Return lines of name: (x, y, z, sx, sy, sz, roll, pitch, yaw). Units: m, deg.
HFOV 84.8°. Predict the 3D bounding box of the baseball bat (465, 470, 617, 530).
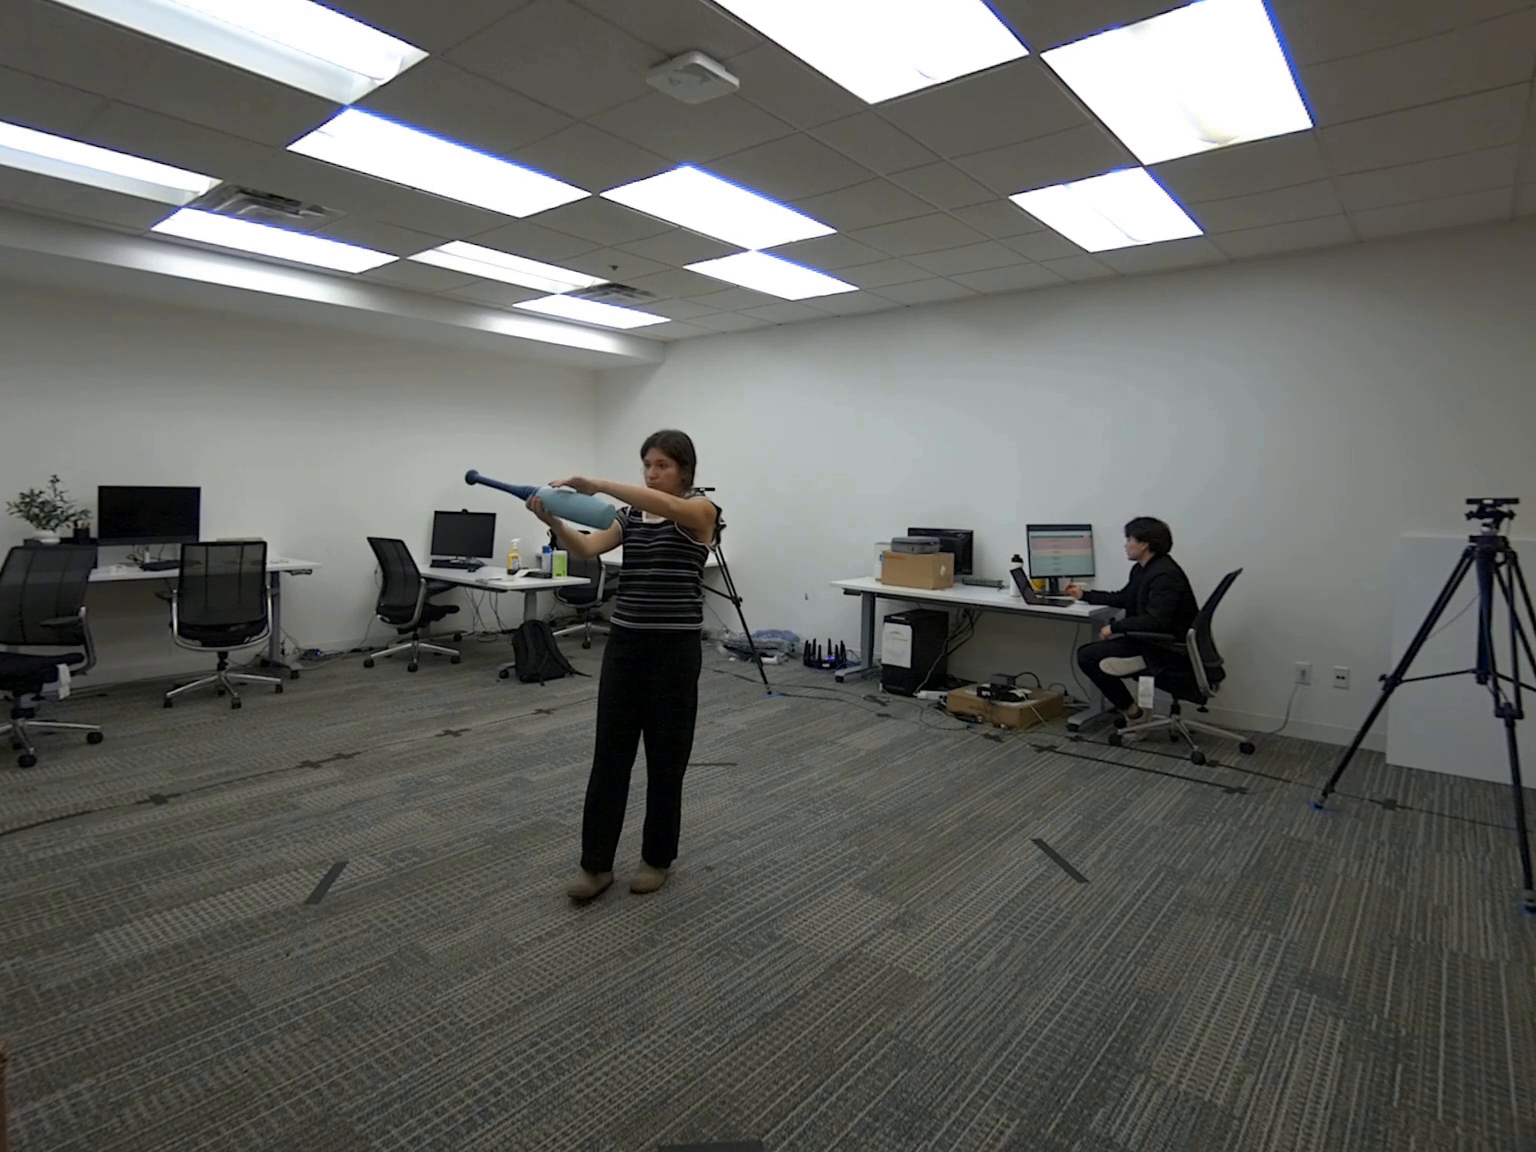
baseball bat: (-0.713, -0.247, 2.596, 0.558, 0.088, 0.087, 18, 10, 21)
